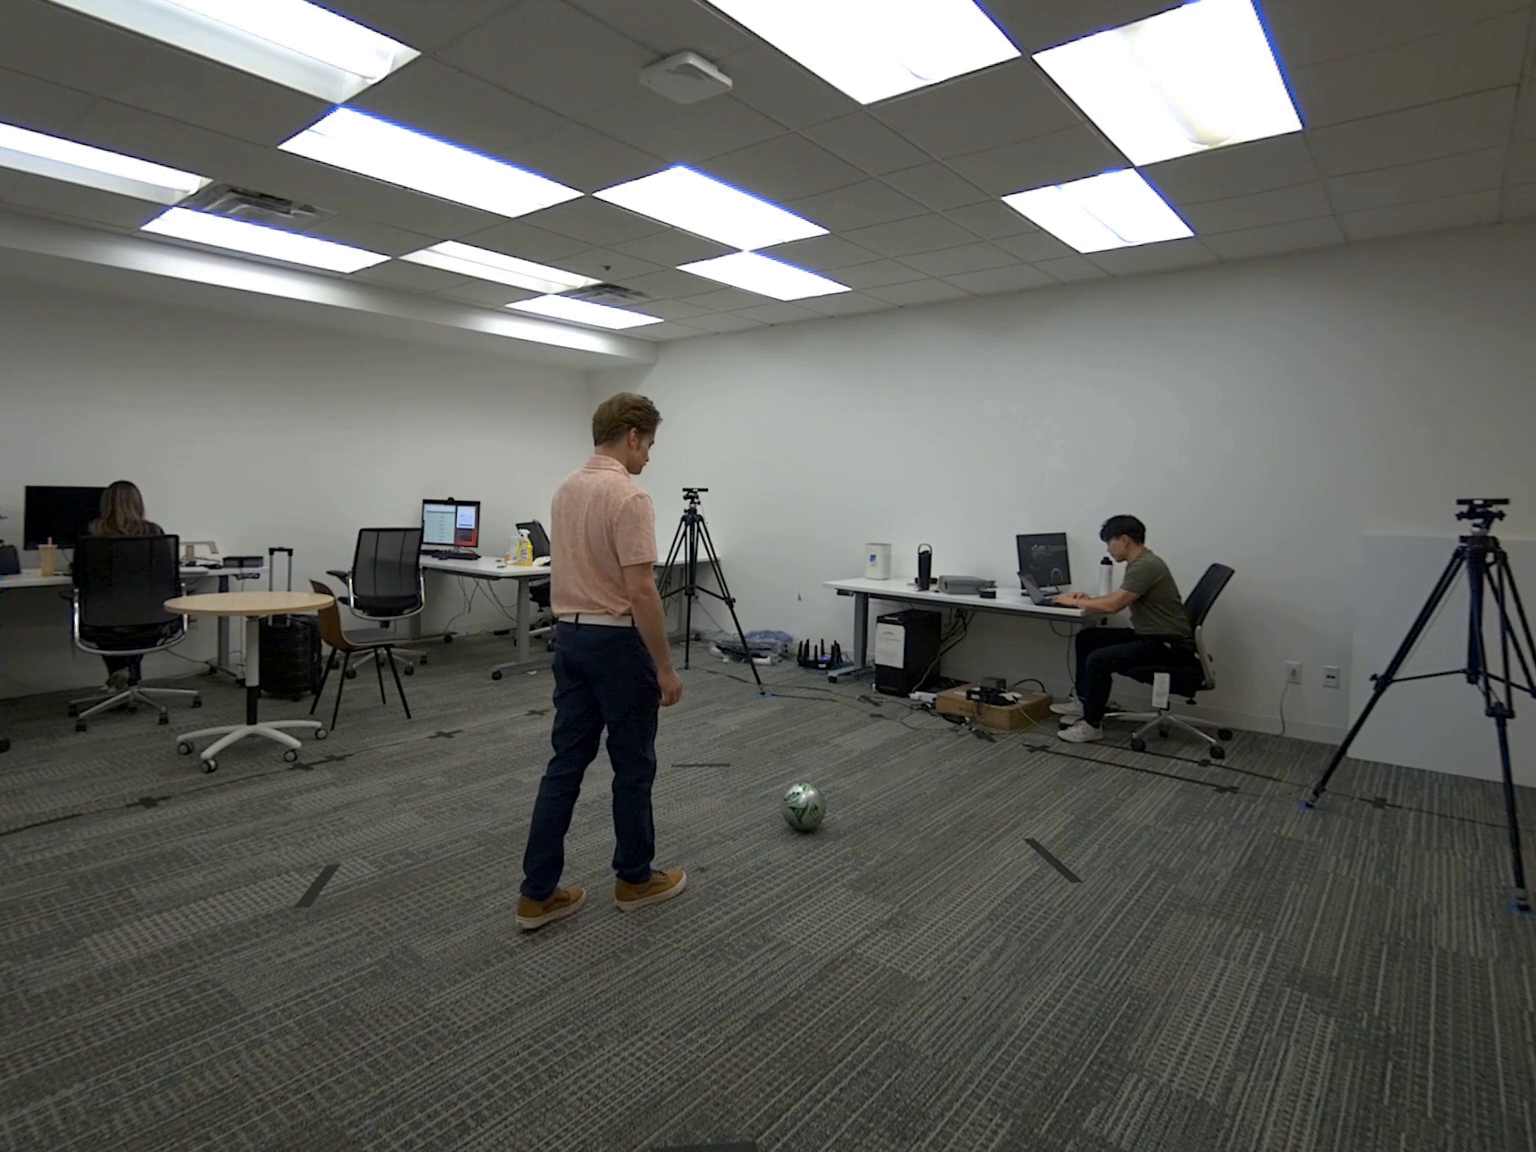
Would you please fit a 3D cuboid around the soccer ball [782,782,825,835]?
[{"bbox_3d":[0.135,0.943,3.496,0.187,0.187,0.188,1,4,-2],"label":"soccer ball"}]
